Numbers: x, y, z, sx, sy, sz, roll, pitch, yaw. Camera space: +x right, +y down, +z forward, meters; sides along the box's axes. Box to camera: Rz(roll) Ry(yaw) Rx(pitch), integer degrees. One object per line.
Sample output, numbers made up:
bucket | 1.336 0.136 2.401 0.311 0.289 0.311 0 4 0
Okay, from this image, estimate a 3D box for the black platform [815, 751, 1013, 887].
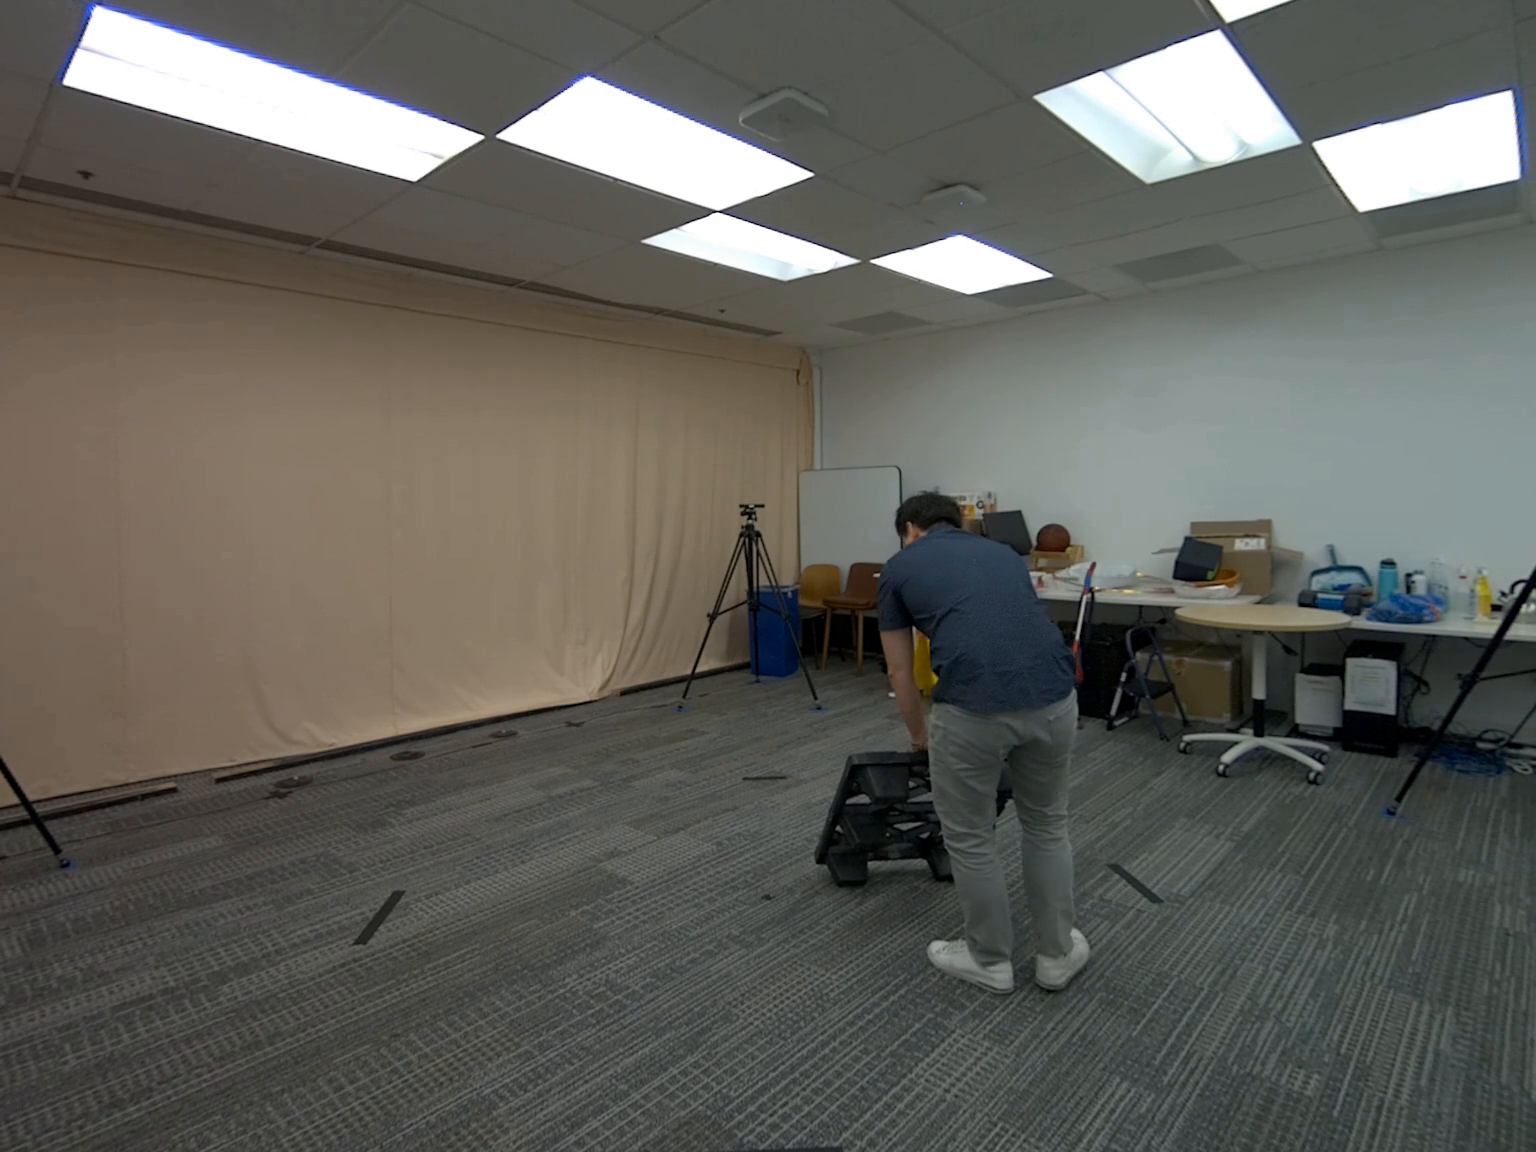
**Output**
black platform | 0.516 0.835 2.845 0.601 0.146 0.793 -1 -41 -8
